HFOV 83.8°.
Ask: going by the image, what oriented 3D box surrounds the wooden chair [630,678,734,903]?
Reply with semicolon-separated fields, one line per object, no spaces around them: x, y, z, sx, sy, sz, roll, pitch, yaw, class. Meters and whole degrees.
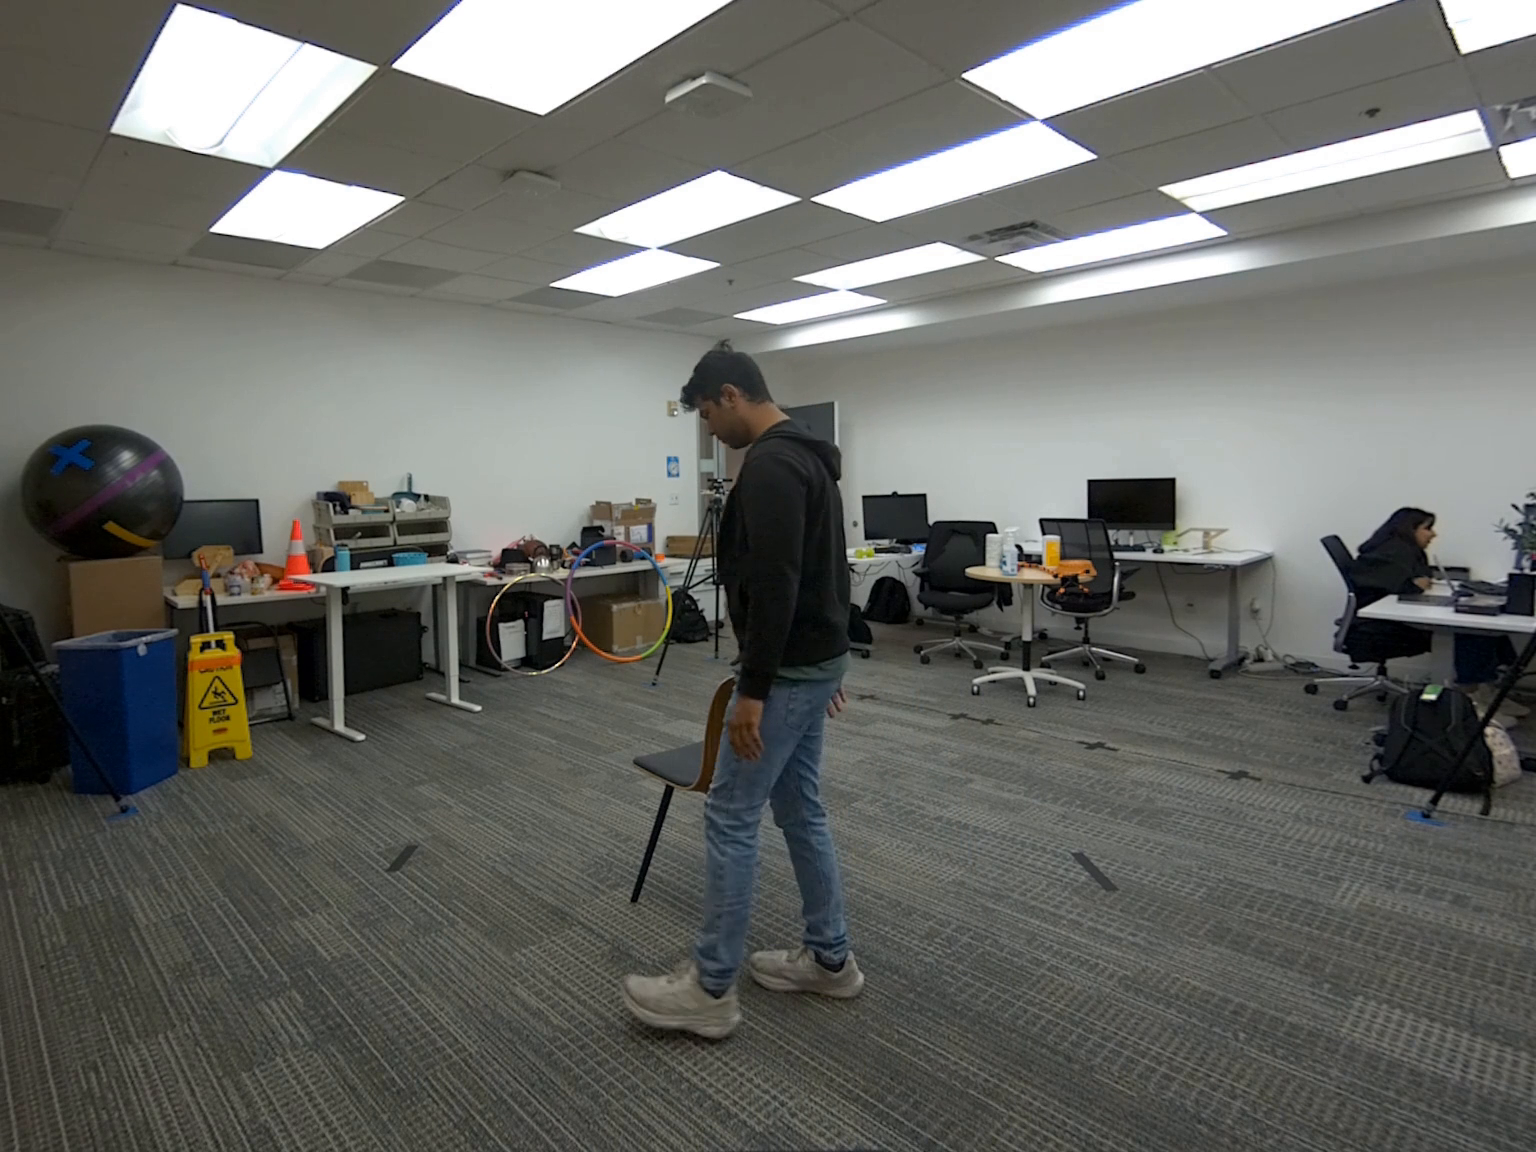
-0.143;0.659;2.780;0.466;0.871;0.541;-5;11;-41;wooden chair
